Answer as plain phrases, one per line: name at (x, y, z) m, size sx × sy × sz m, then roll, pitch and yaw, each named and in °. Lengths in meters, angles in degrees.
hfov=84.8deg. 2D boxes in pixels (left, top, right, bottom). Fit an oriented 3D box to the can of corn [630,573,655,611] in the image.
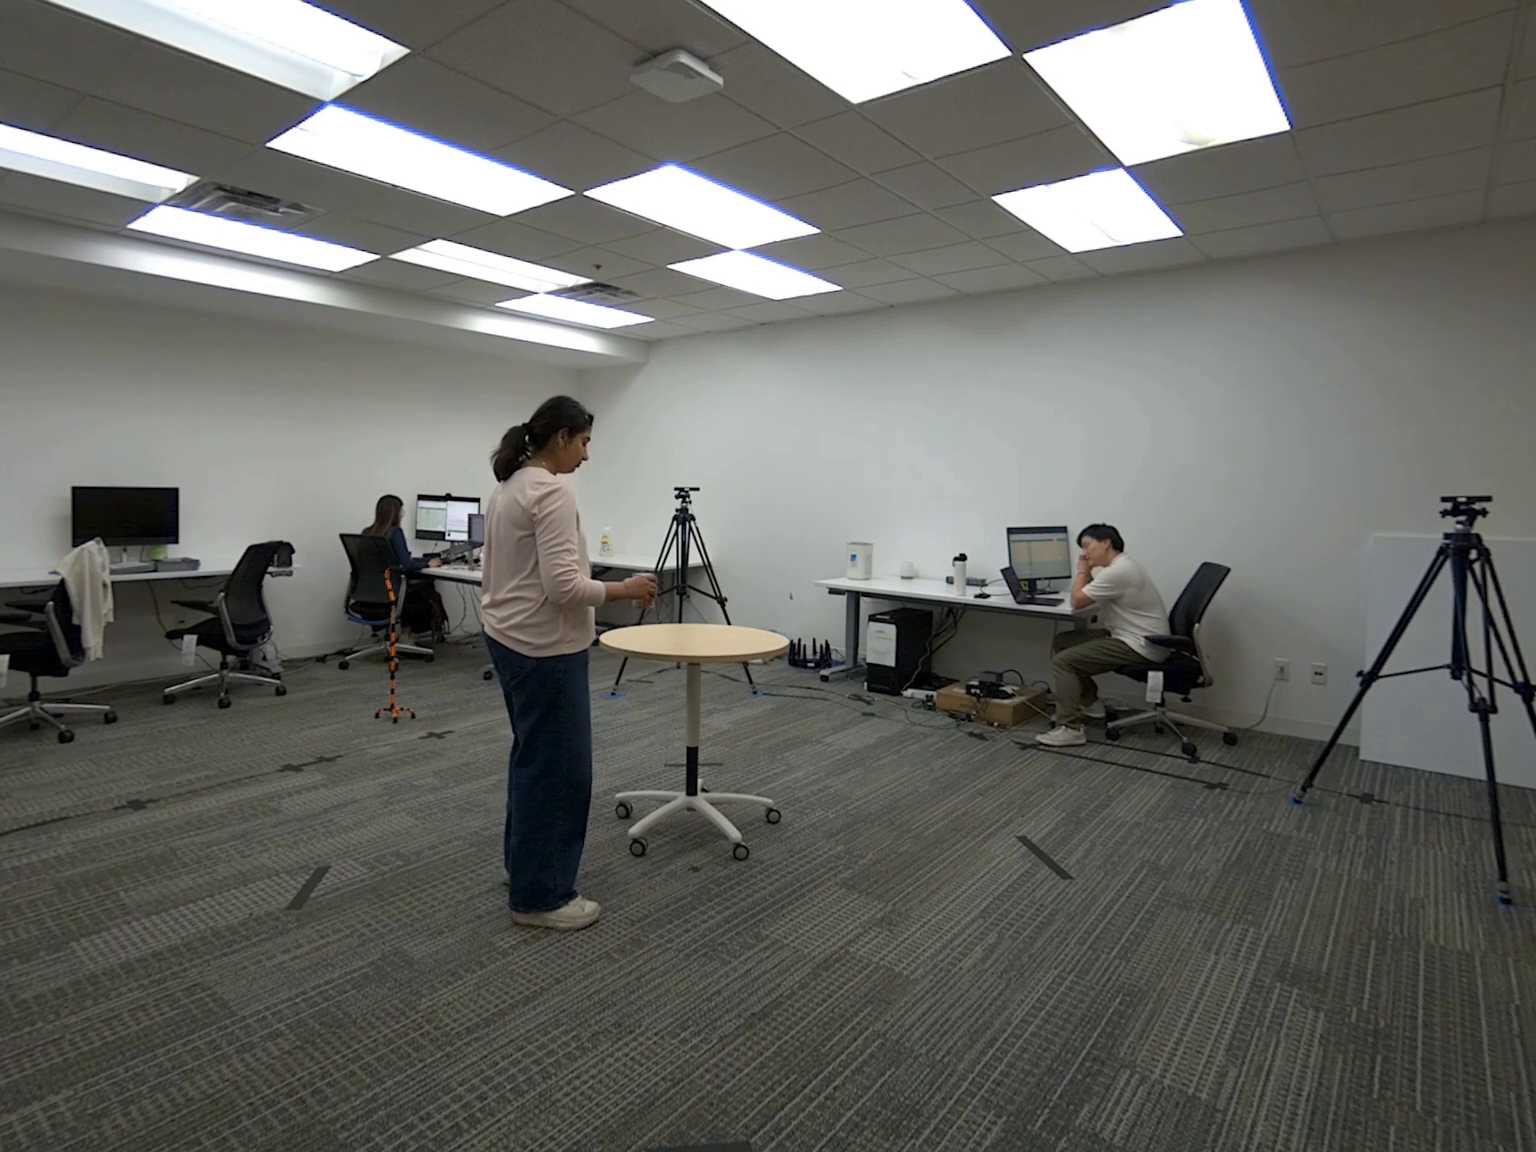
can of corn at (-0.422, 0.050, 2.826) m, size 0.074 × 0.110 × 0.075 m, roll 1°, pitch 6°, yaw -2°
